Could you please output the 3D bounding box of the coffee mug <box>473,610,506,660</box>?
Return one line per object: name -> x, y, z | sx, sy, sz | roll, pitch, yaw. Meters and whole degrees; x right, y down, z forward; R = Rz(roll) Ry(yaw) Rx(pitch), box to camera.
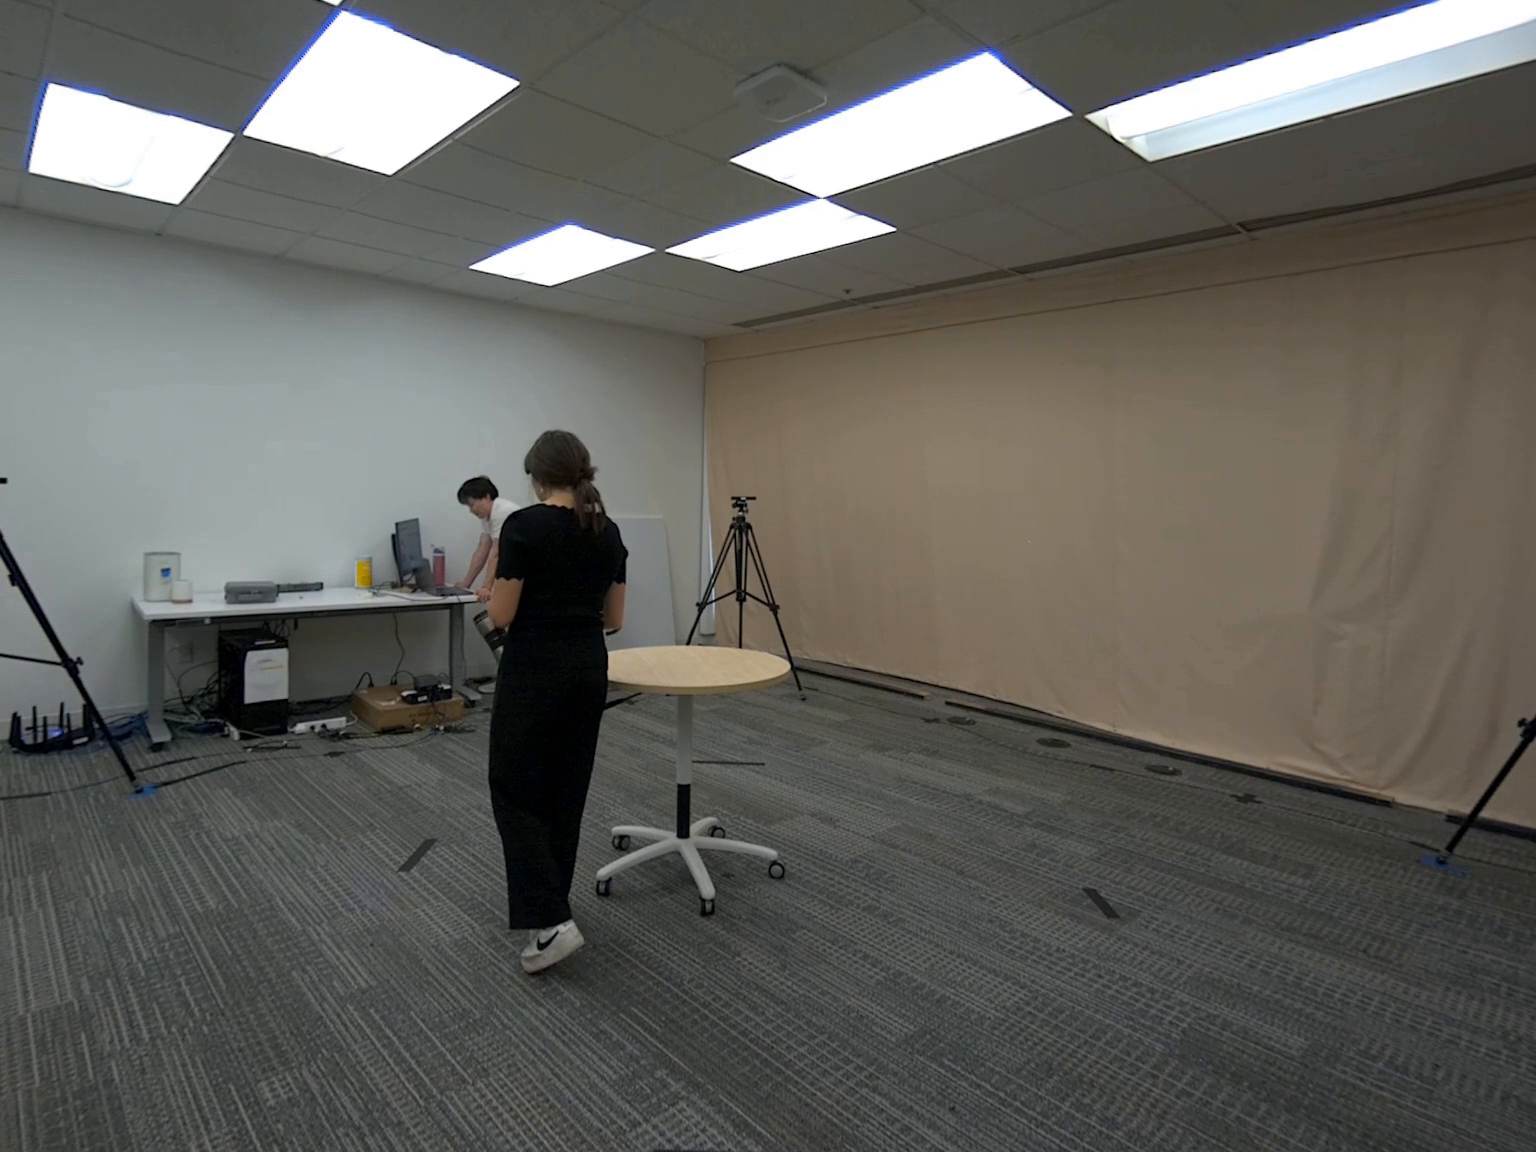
coffee mug -> -0.920, 0.231, 2.791 | 0.089, 0.204, 0.120 | -25, -4, 32
